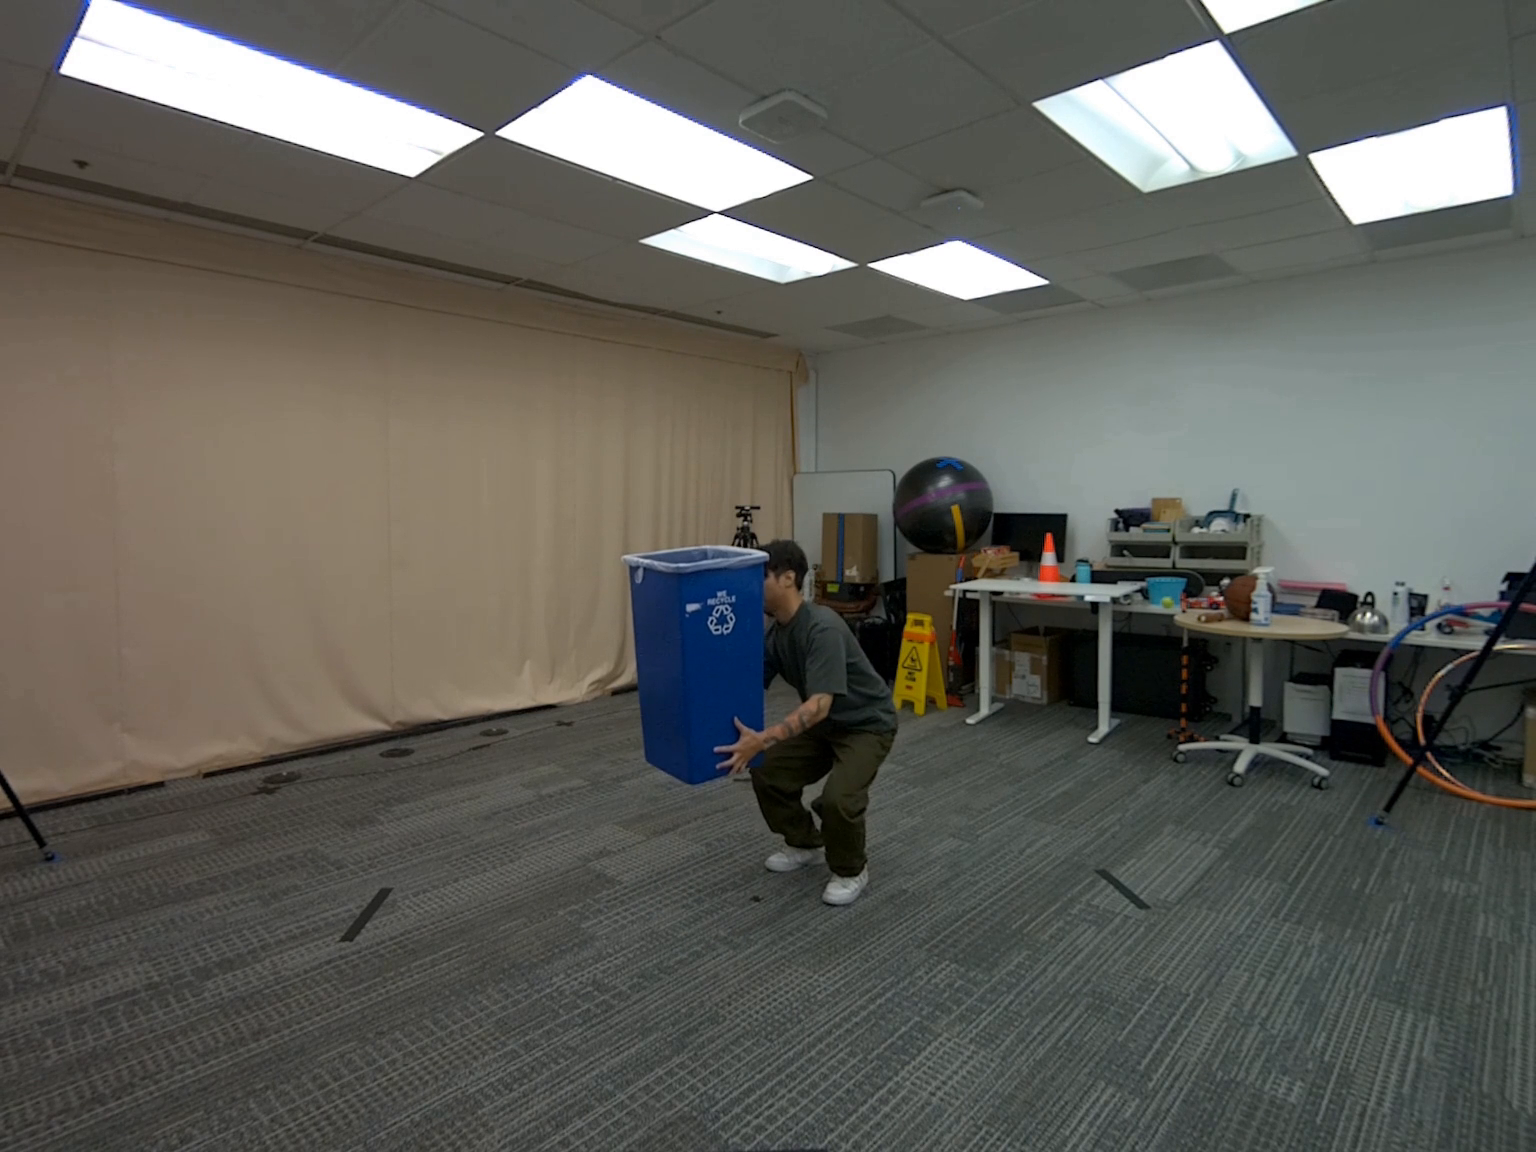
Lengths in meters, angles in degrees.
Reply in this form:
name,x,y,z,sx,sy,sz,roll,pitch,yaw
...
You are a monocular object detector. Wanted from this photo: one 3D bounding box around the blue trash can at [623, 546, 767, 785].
name,x,y,z,sx,sy,sz,roll,pitch,yaw
blue trash can,-0.226,0.275,2.822,0.367,0.710,0.386,-7,8,-37
